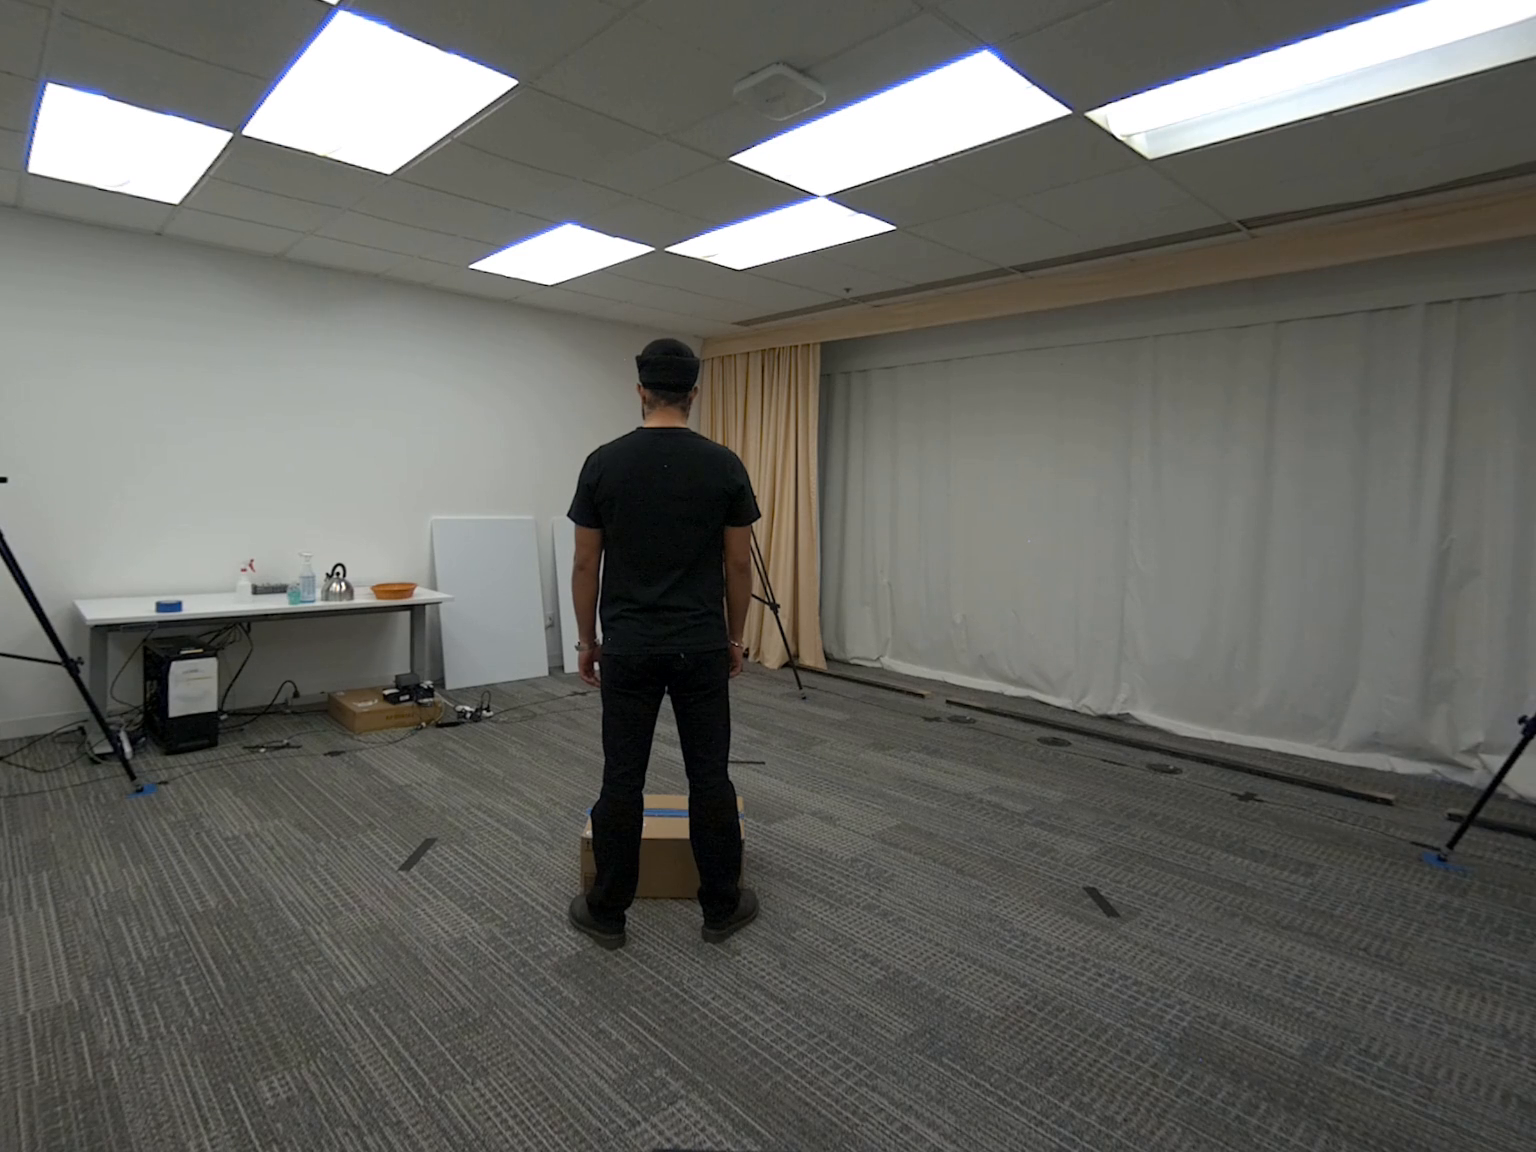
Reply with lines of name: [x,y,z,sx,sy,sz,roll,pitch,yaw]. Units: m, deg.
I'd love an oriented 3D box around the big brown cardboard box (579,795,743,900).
big brown cardboard box: [-0.386,0.995,3.103,0.588,0.233,0.419,2,4,-3]
